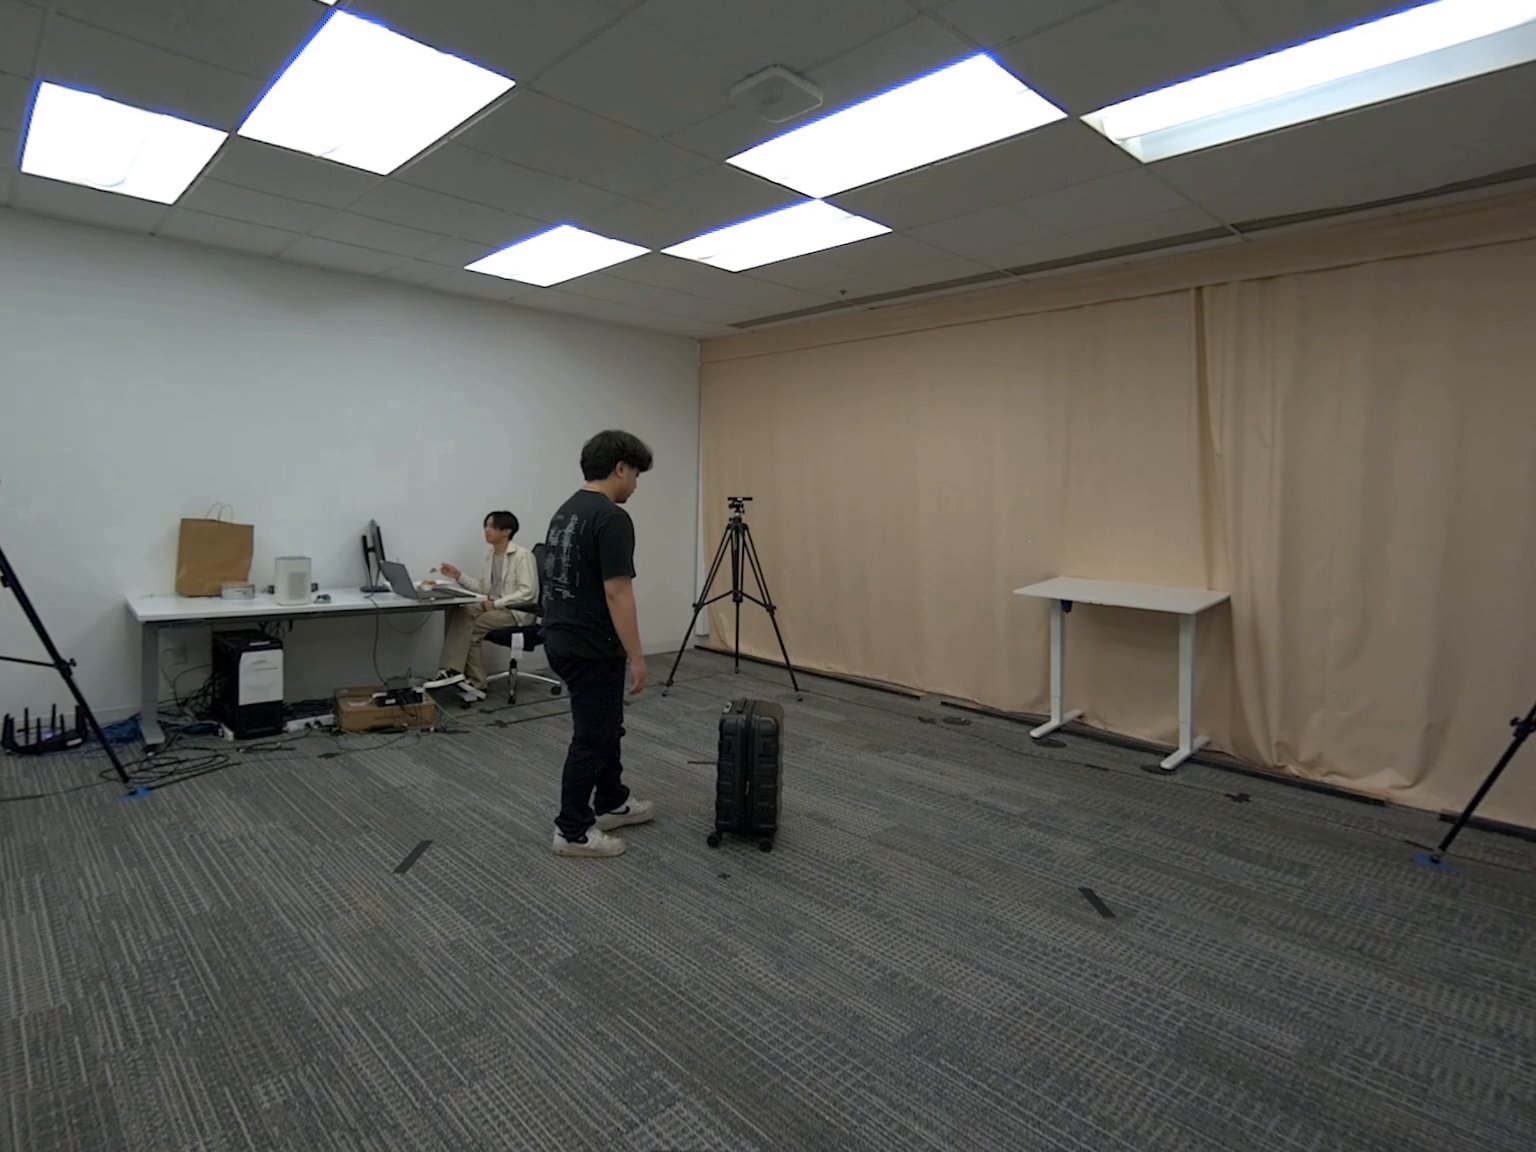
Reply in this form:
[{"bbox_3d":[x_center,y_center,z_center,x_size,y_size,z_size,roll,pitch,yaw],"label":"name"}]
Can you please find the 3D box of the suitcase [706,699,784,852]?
[{"bbox_3d":[-0.088,0.803,3.495,0.250,0.548,0.373,5,3,7],"label":"suitcase"}]
